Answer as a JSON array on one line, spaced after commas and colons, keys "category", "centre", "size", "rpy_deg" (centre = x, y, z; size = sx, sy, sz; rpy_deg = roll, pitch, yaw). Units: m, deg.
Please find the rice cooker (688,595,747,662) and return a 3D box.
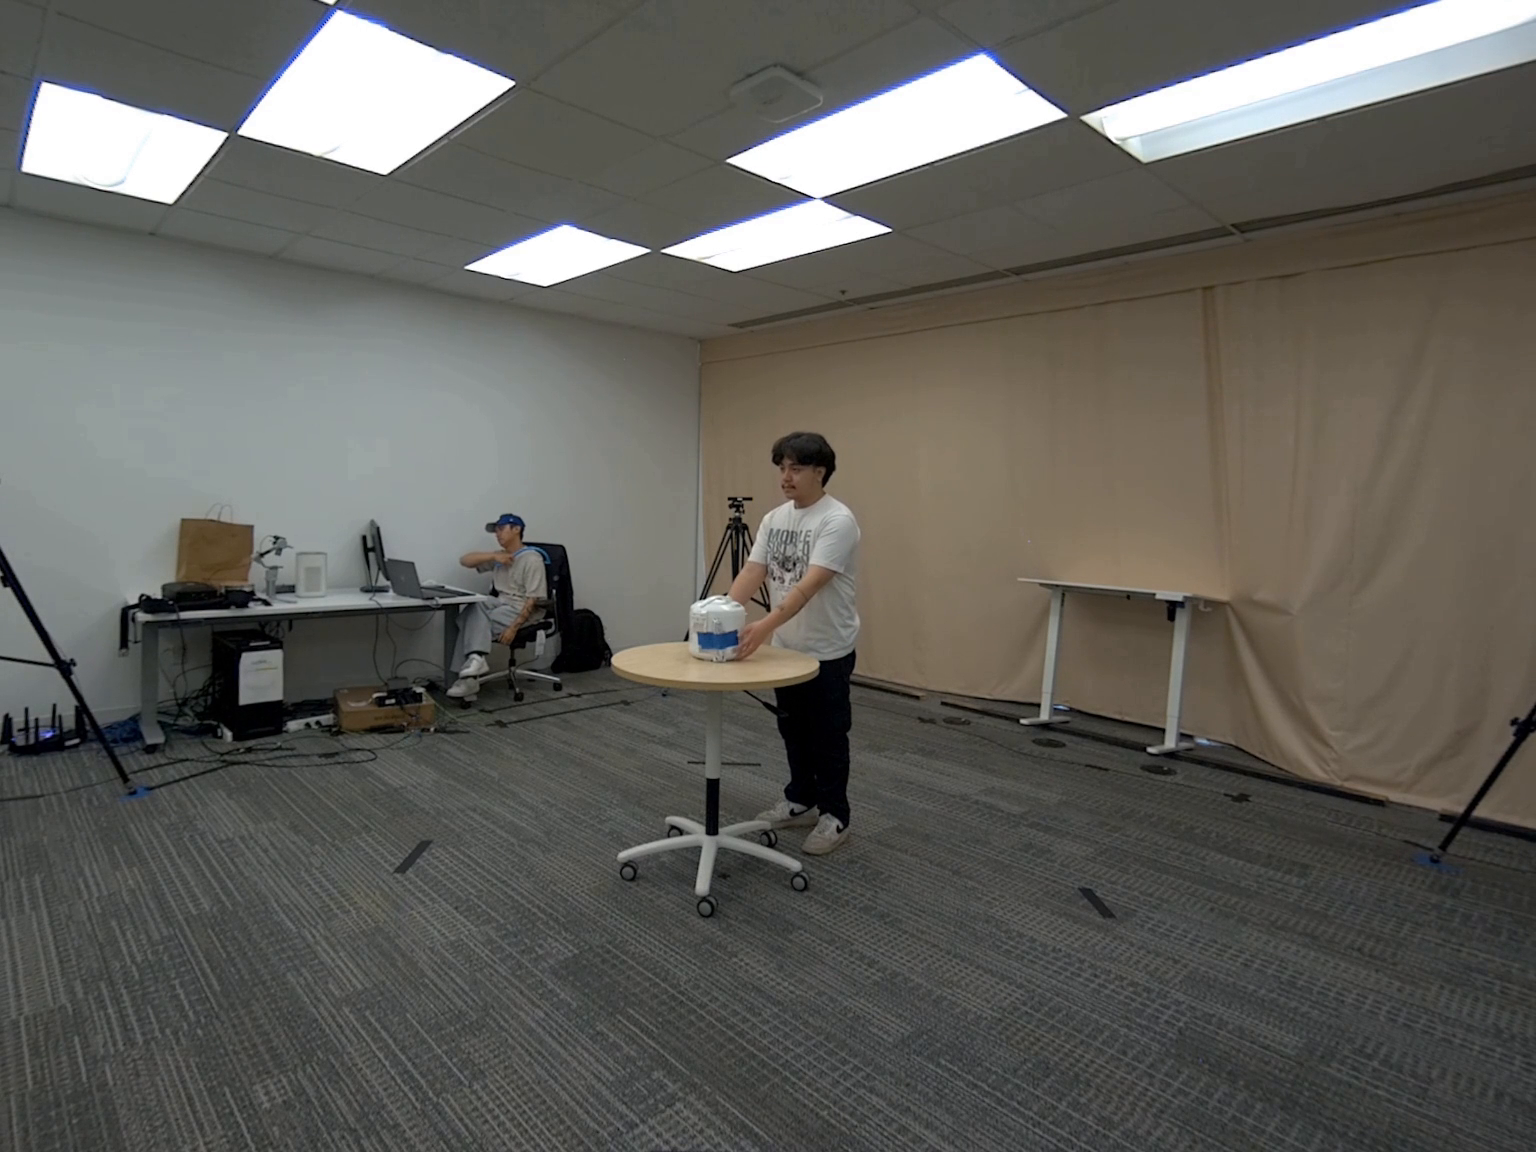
[{"category": "rice cooker", "centre": [-0.210, 0.191, 3.139], "size": [0.223, 0.232, 0.216], "rpy_deg": [4, 5, 35]}]
